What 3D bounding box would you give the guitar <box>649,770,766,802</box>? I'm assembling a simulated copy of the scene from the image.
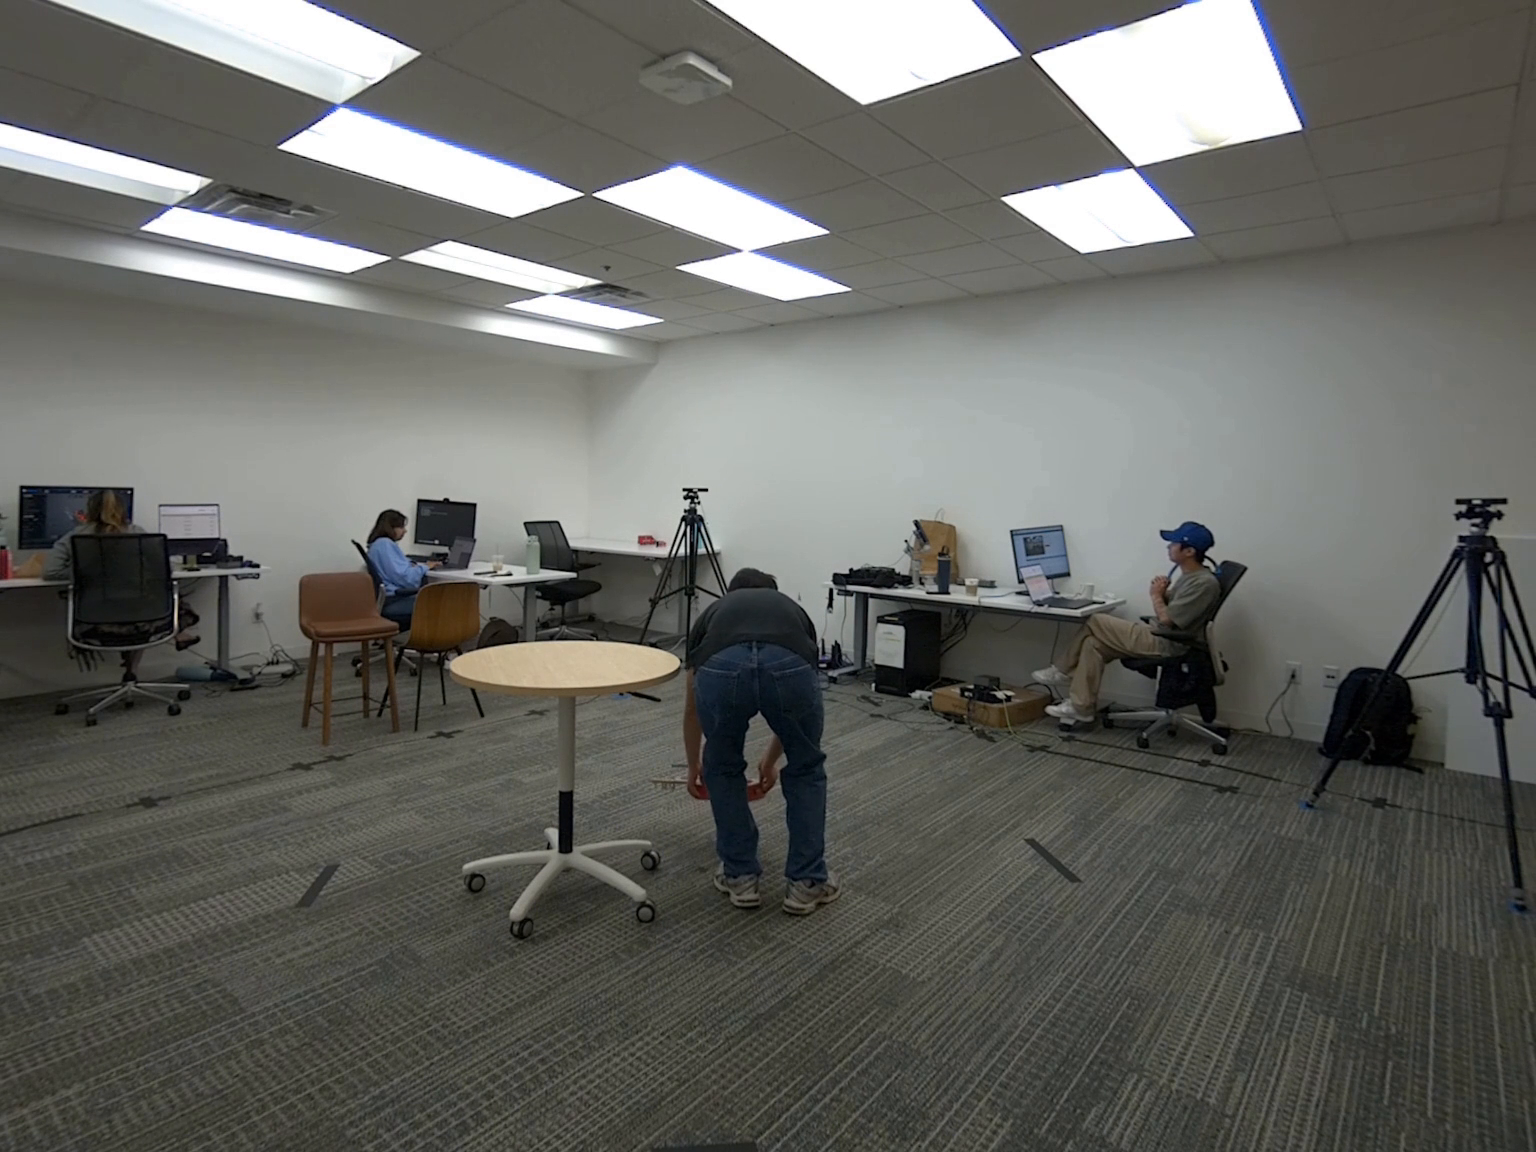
[{"bbox_3d":[-0.258,0.837,3.391,0.511,0.071,0.186,-5,-7,35],"label":"guitar"}]
